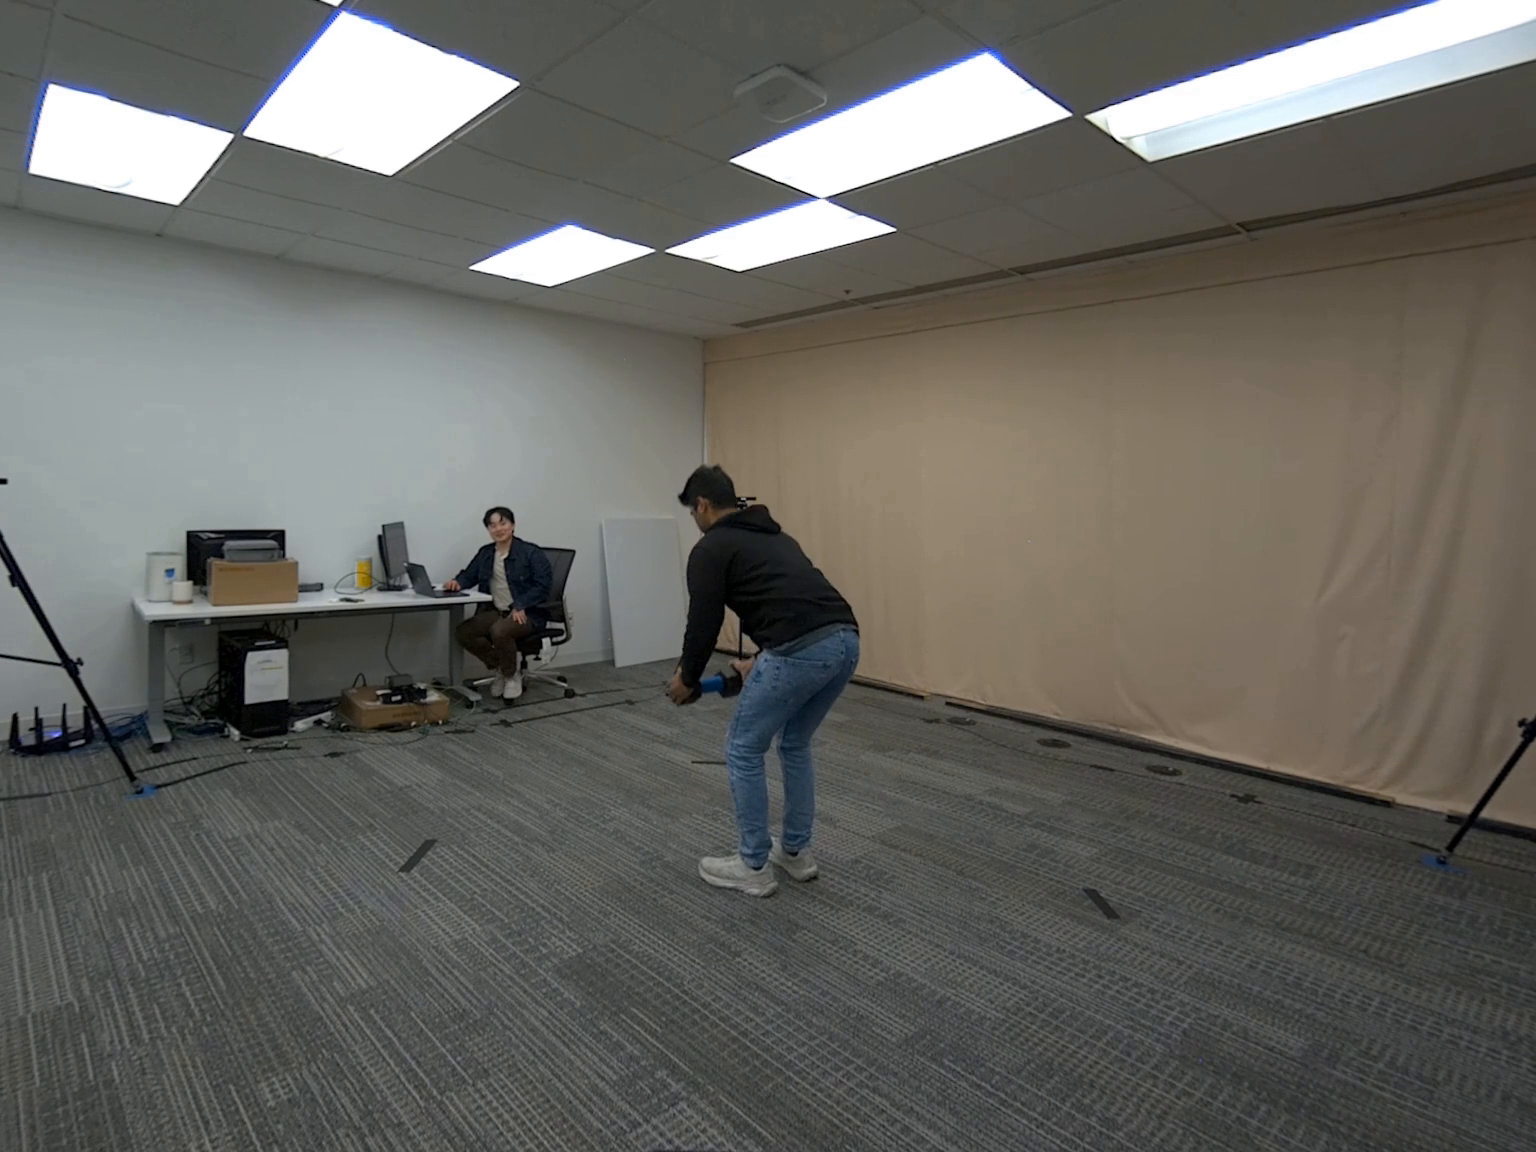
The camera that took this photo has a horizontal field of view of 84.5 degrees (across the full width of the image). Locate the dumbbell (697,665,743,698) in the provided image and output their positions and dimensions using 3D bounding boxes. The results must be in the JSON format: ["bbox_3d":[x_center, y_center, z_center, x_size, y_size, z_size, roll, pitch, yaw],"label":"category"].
[{"bbox_3d":[-0.238,0.436,3.309,0.287,0.111,0.123,-3,-24,-38],"label":"dumbbell"}]
